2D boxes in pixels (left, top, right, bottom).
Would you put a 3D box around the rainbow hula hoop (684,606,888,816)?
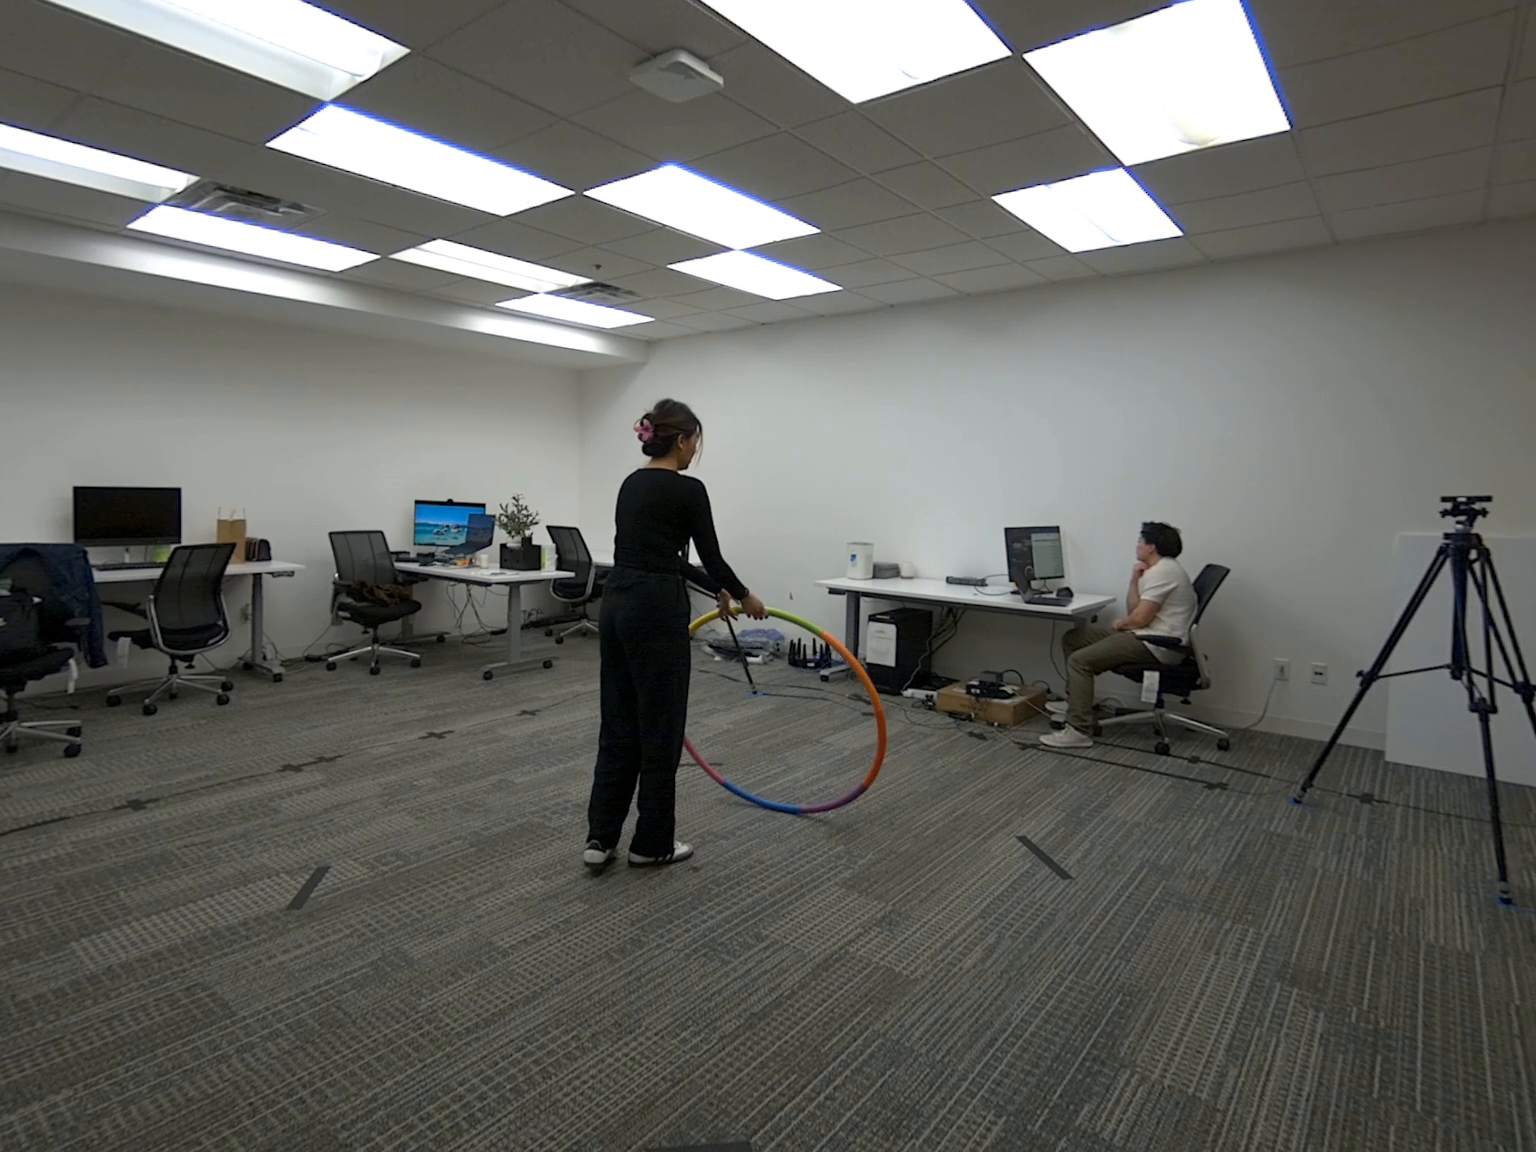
[{"bbox_3d":[-0.006,0.564,3.544,1.005,0.958,0.035,3,23,27],"label":"rainbow hula hoop"}]
